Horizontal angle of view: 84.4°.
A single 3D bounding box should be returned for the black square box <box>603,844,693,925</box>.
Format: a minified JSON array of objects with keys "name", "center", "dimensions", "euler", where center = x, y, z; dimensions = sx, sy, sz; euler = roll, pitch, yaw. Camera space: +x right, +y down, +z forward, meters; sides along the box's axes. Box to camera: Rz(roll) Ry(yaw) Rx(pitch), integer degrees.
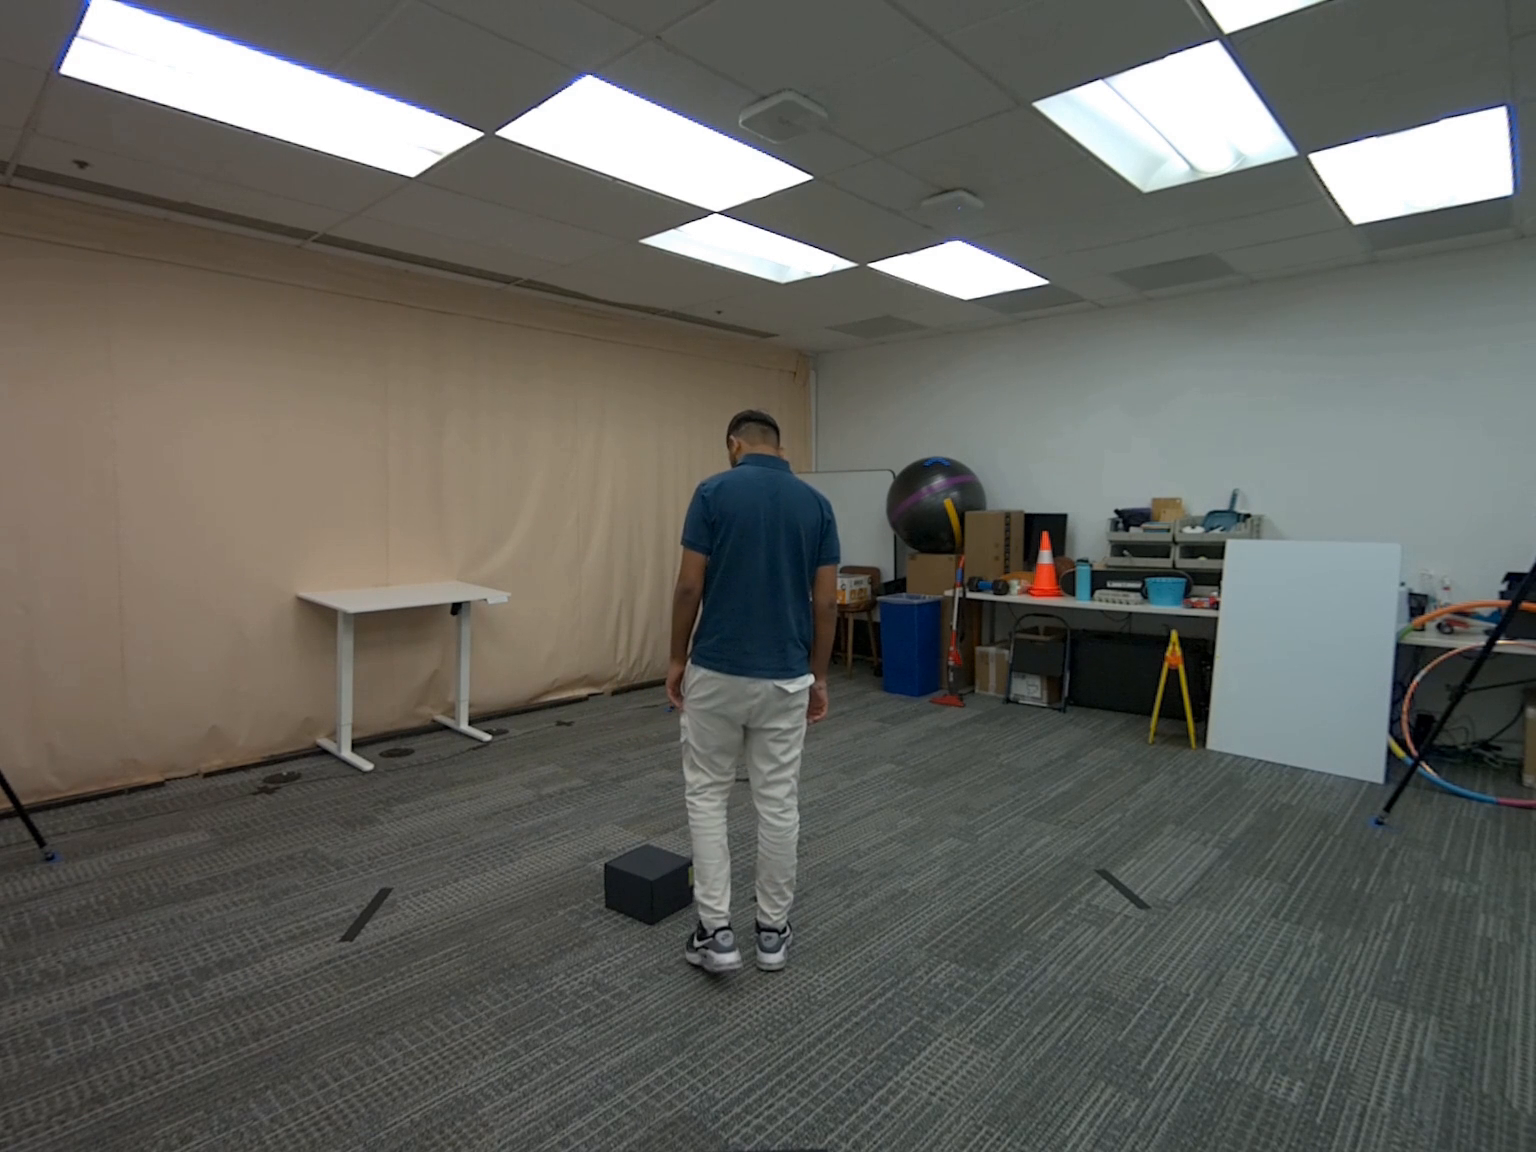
[{"name":"black square box","center":[-0.414,1.066,2.935],"dimensions":[0.235,0.155,0.210],"euler":[2,5,37]}]
